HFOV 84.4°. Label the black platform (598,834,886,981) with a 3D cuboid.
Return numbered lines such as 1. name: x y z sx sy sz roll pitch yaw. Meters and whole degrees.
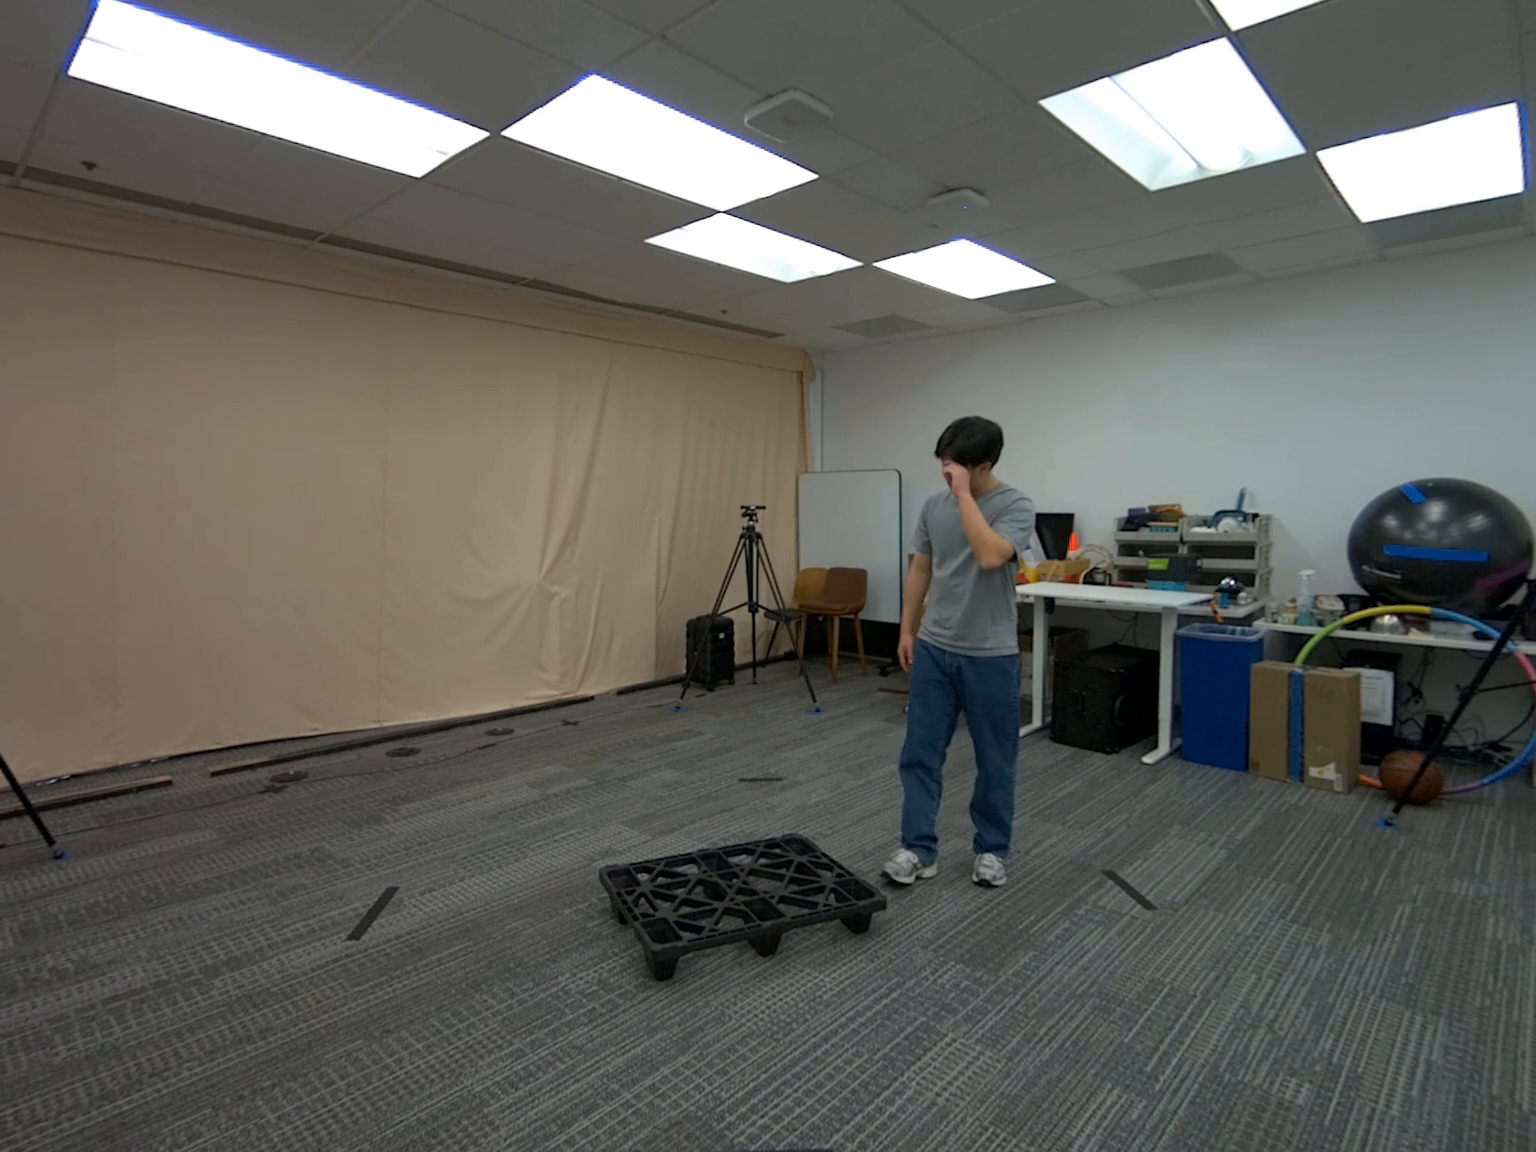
1. black platform: -0.105 1.090 2.815 0.787 0.143 0.621 -2 5 -25
